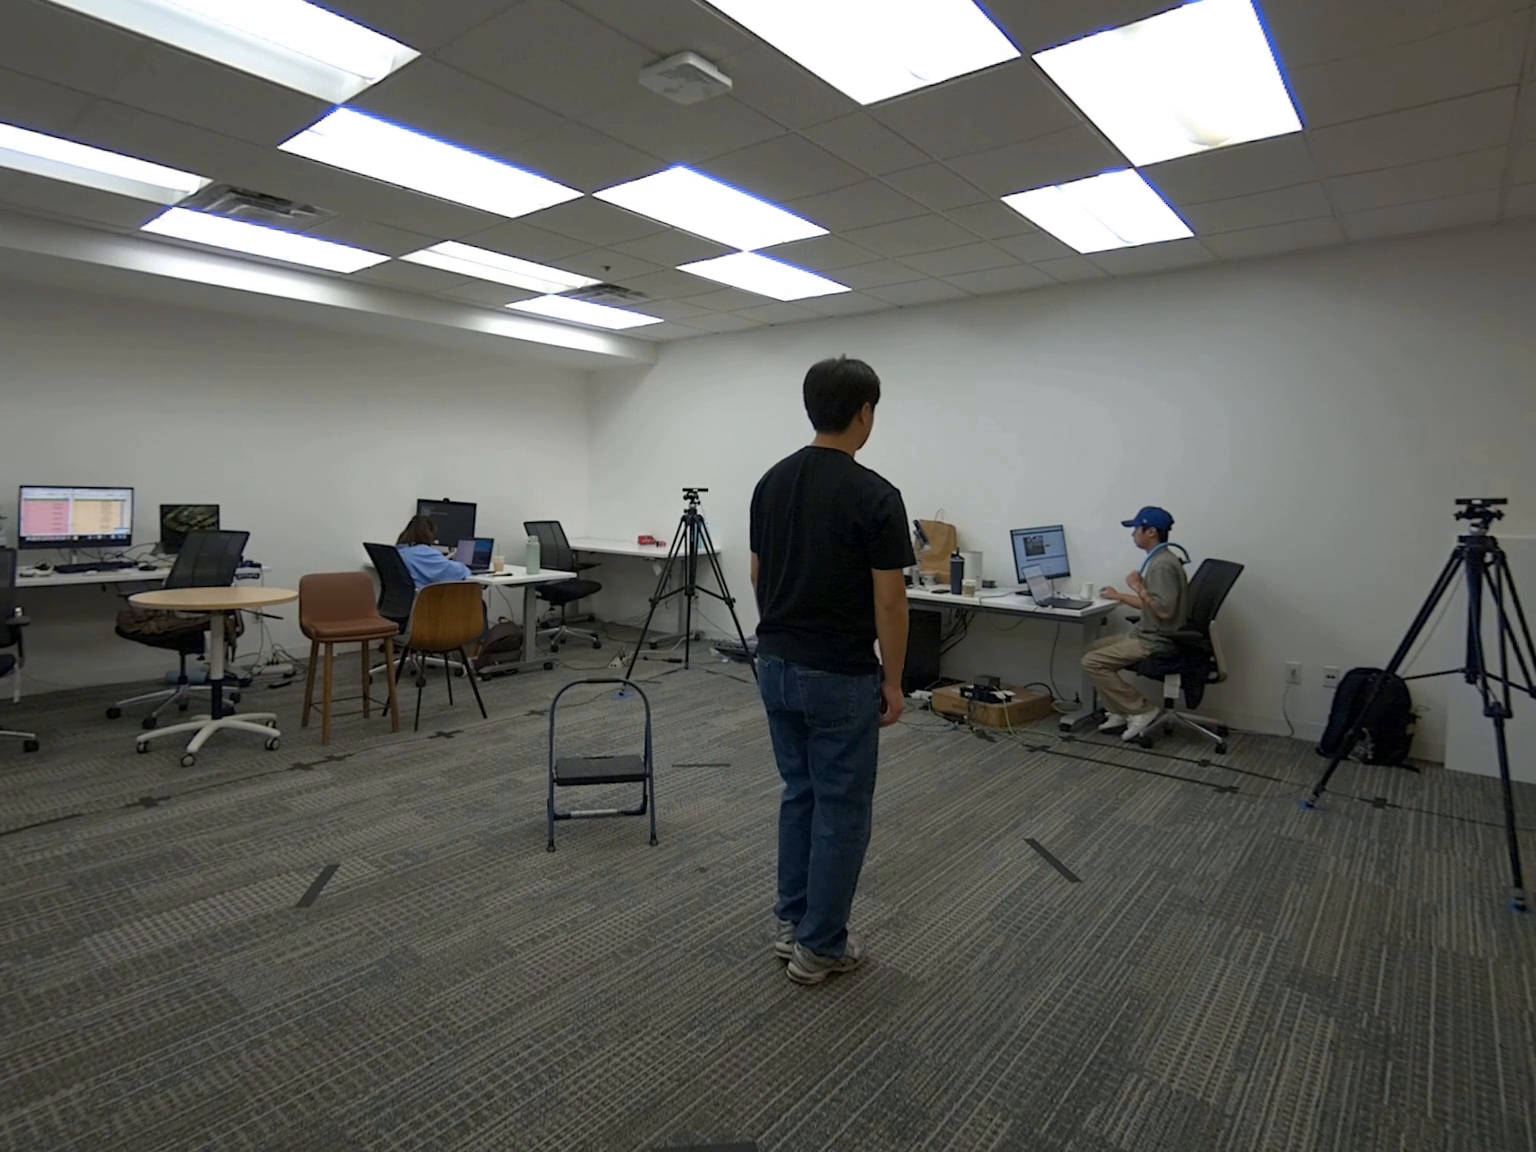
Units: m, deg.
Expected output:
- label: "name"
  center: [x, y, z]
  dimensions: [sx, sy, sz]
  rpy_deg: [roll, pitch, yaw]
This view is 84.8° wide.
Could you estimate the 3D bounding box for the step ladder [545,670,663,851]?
- label: "step ladder"
  center: [-0.678, 0.727, 3.420]
  dimensions: [0.424, 0.604, 0.355]
  rpy_deg: [0, 3, -14]
